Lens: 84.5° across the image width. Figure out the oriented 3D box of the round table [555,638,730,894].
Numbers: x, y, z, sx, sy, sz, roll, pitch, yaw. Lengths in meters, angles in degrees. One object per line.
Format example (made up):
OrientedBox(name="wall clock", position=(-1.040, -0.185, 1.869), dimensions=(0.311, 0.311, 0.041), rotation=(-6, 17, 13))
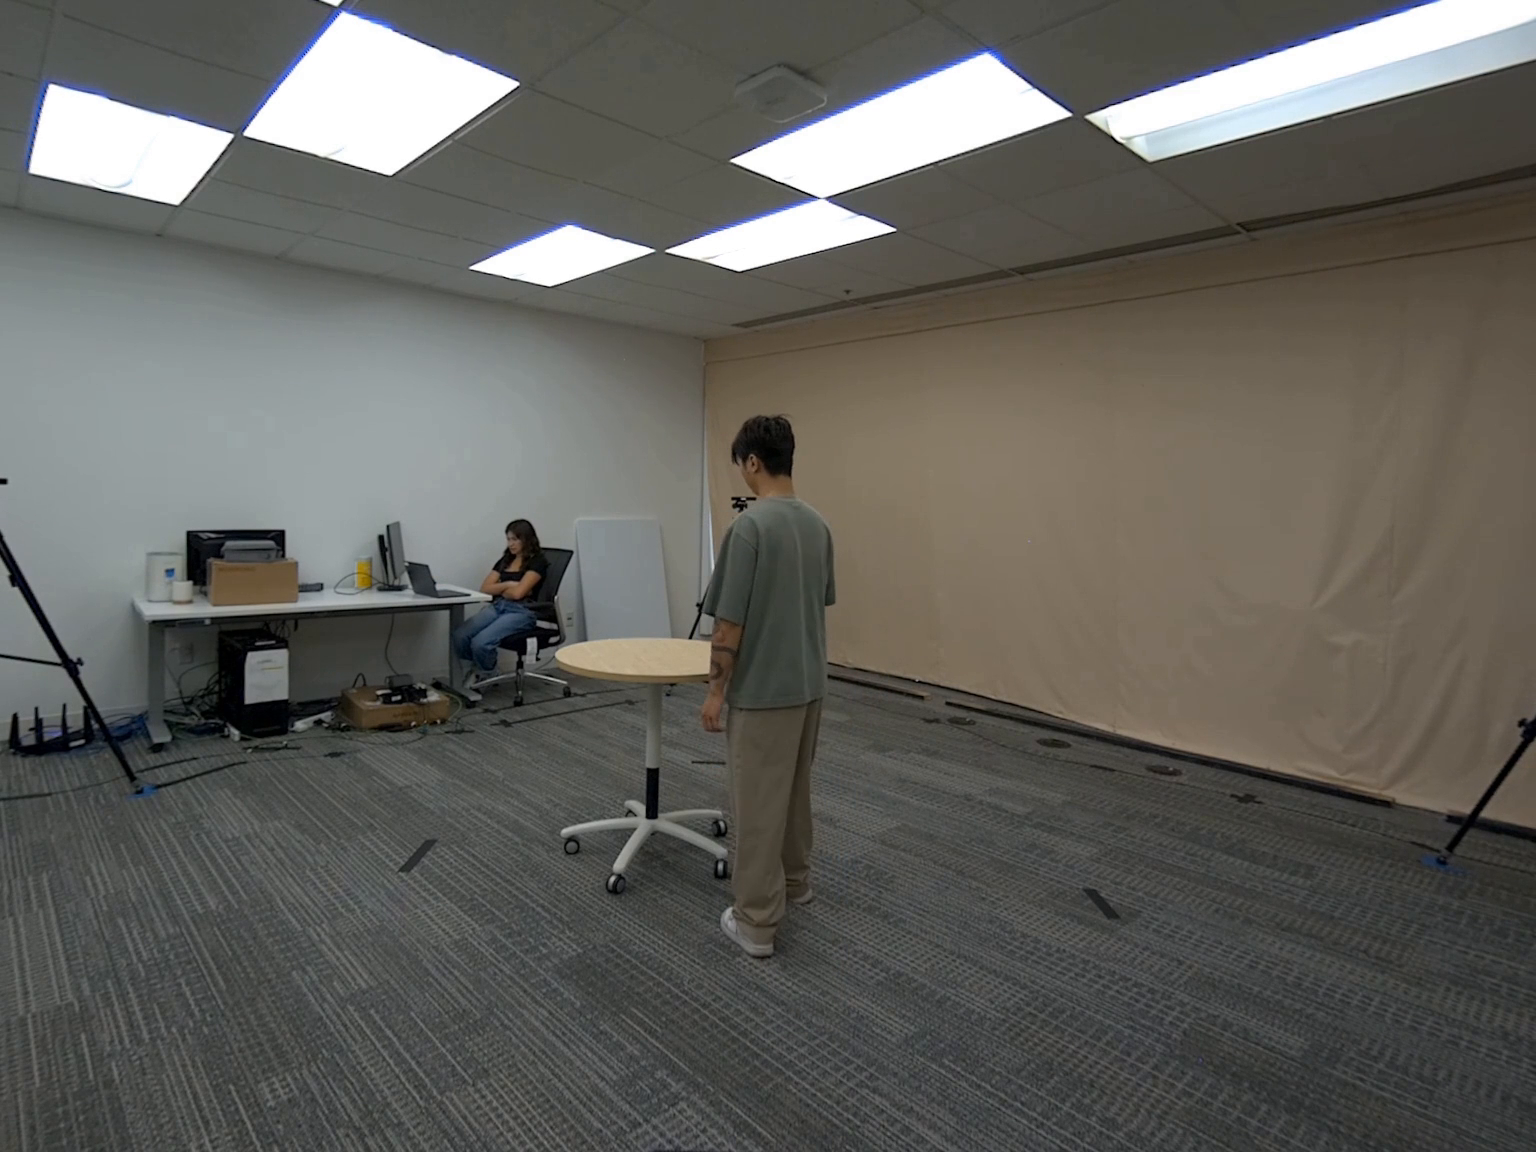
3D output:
OrientedBox(name="round table", position=(-0.459, 0.697, 3.275), dimensions=(0.763, 0.792, 0.766), rotation=(2, 4, -1))
